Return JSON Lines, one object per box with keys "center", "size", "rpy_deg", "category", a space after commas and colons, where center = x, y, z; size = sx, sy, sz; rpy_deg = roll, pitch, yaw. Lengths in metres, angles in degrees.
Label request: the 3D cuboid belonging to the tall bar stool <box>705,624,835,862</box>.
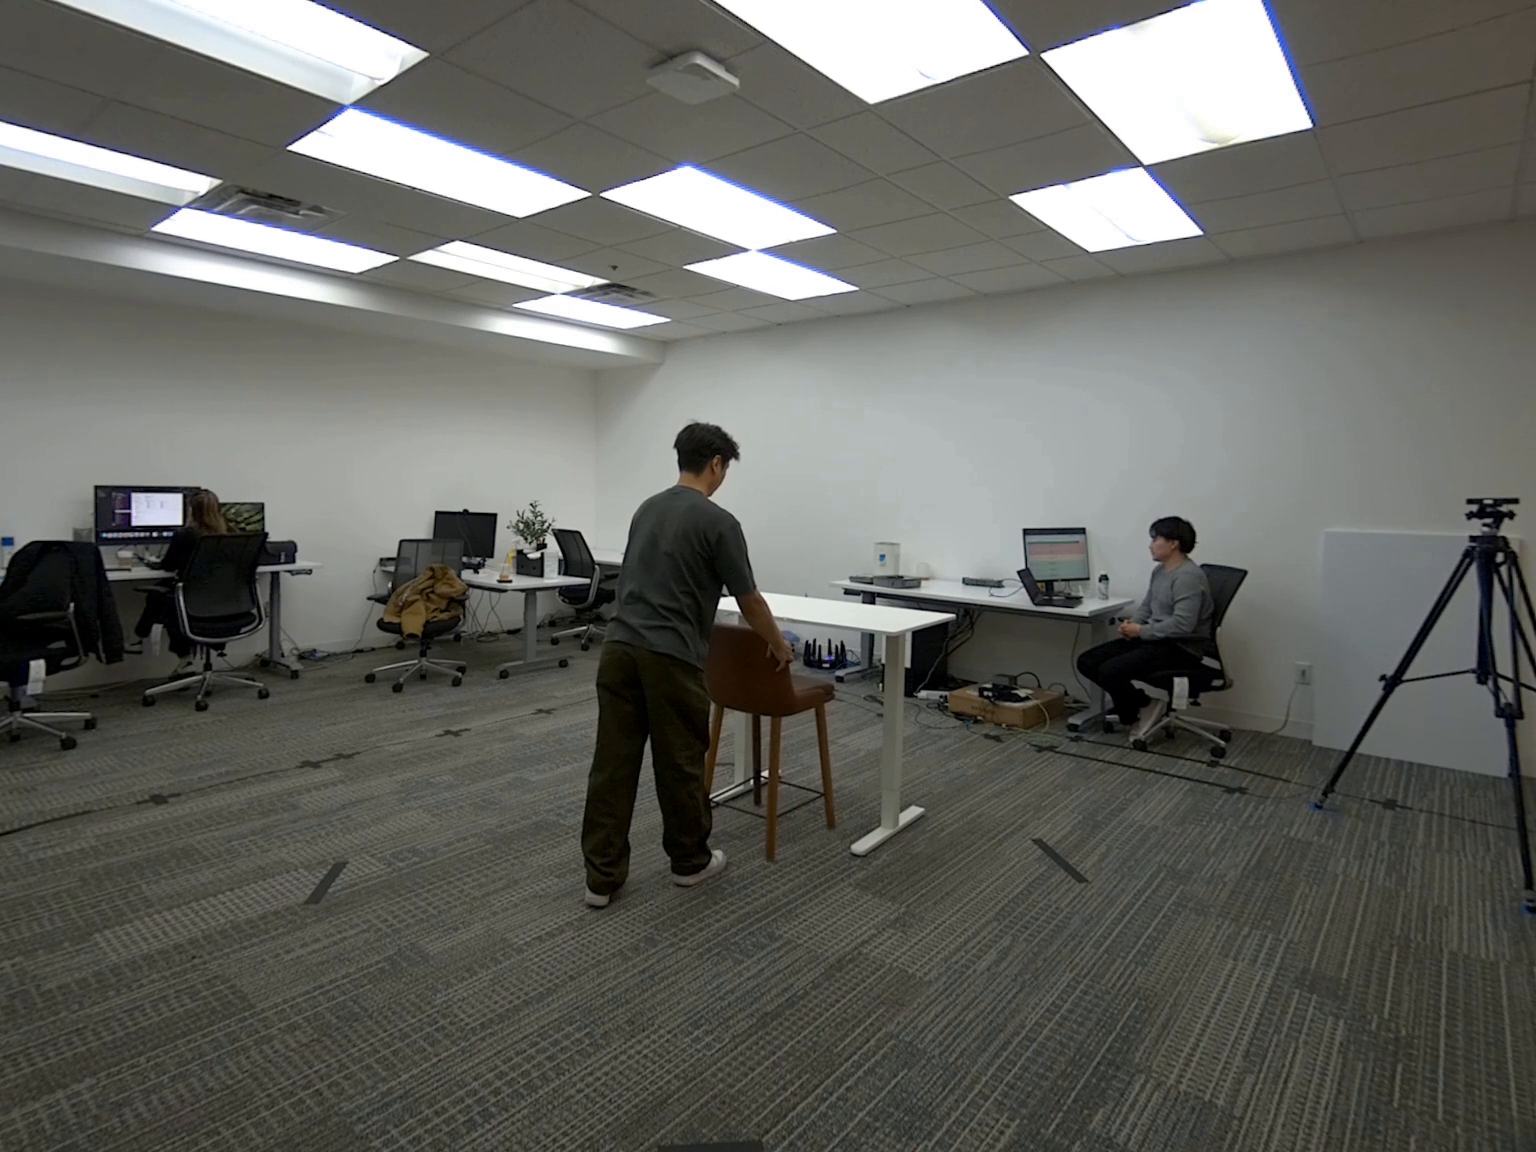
{"center": [-0.021, 0.596, 3.436], "size": [0.471, 0.885, 0.455], "rpy_deg": [4, 7, 37], "category": "tall bar stool"}
